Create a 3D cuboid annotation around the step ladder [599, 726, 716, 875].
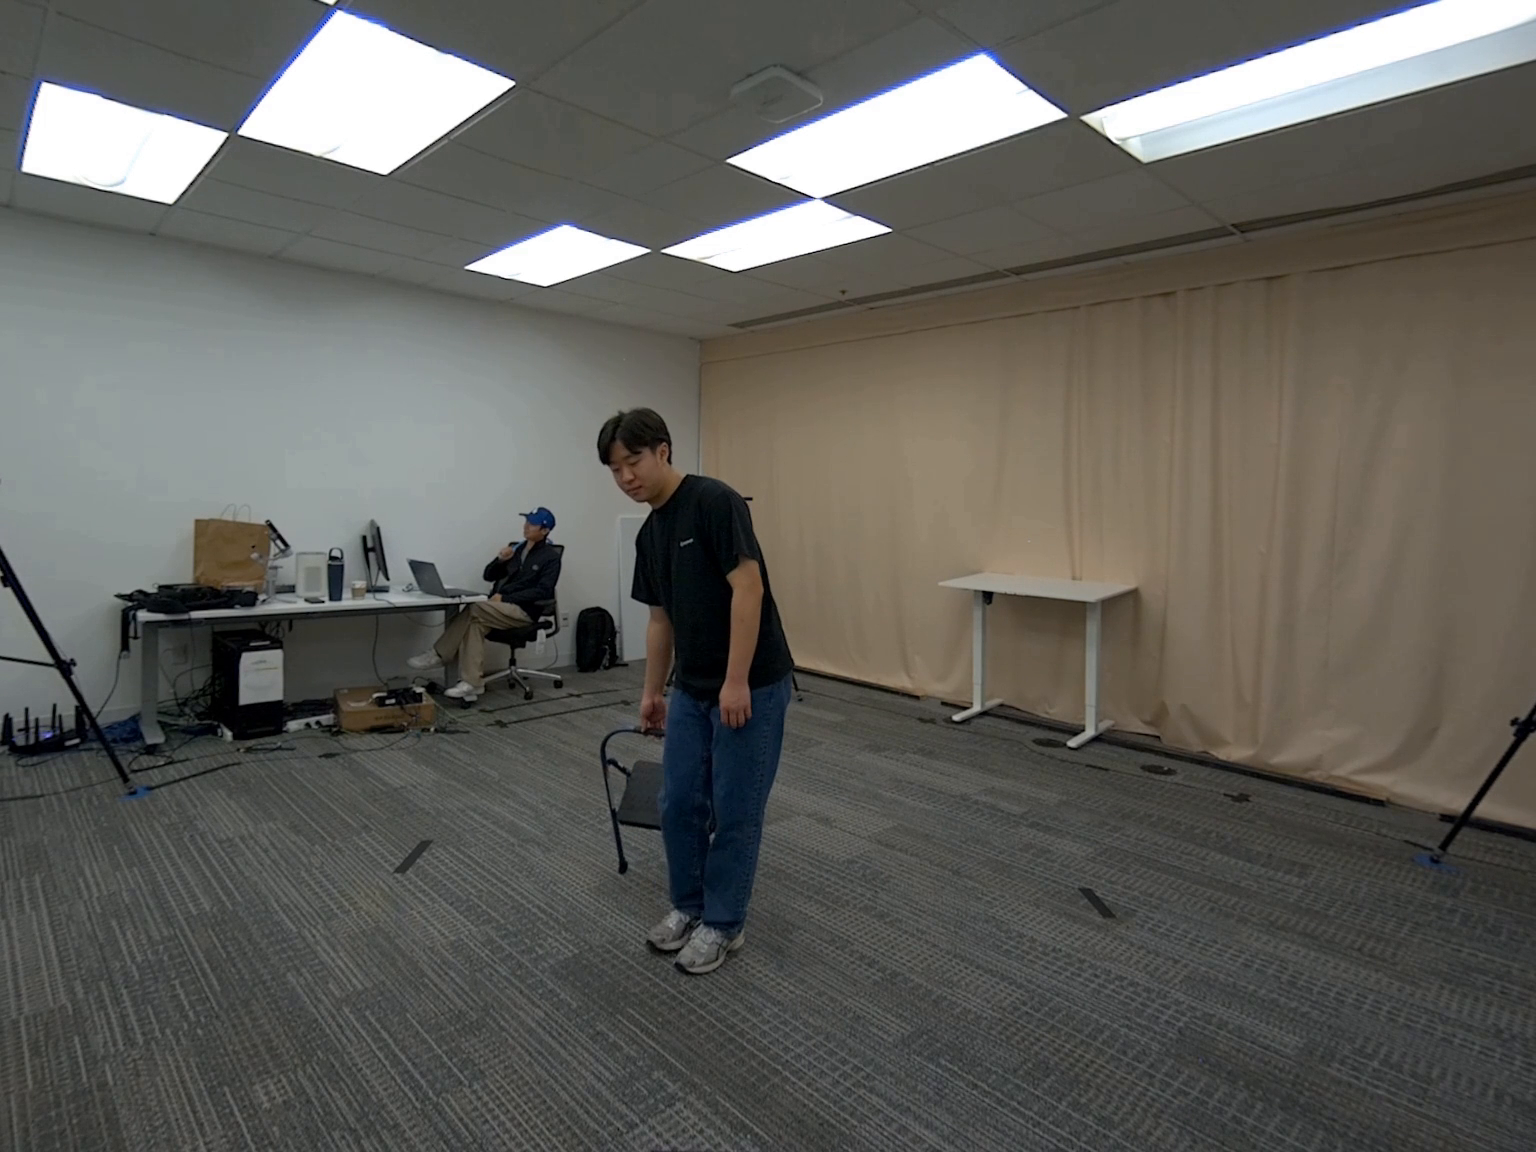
[{"bbox_3d":[-0.366,0.774,2.955,0.437,0.589,0.354,3,47,17],"label":"step ladder"}]
